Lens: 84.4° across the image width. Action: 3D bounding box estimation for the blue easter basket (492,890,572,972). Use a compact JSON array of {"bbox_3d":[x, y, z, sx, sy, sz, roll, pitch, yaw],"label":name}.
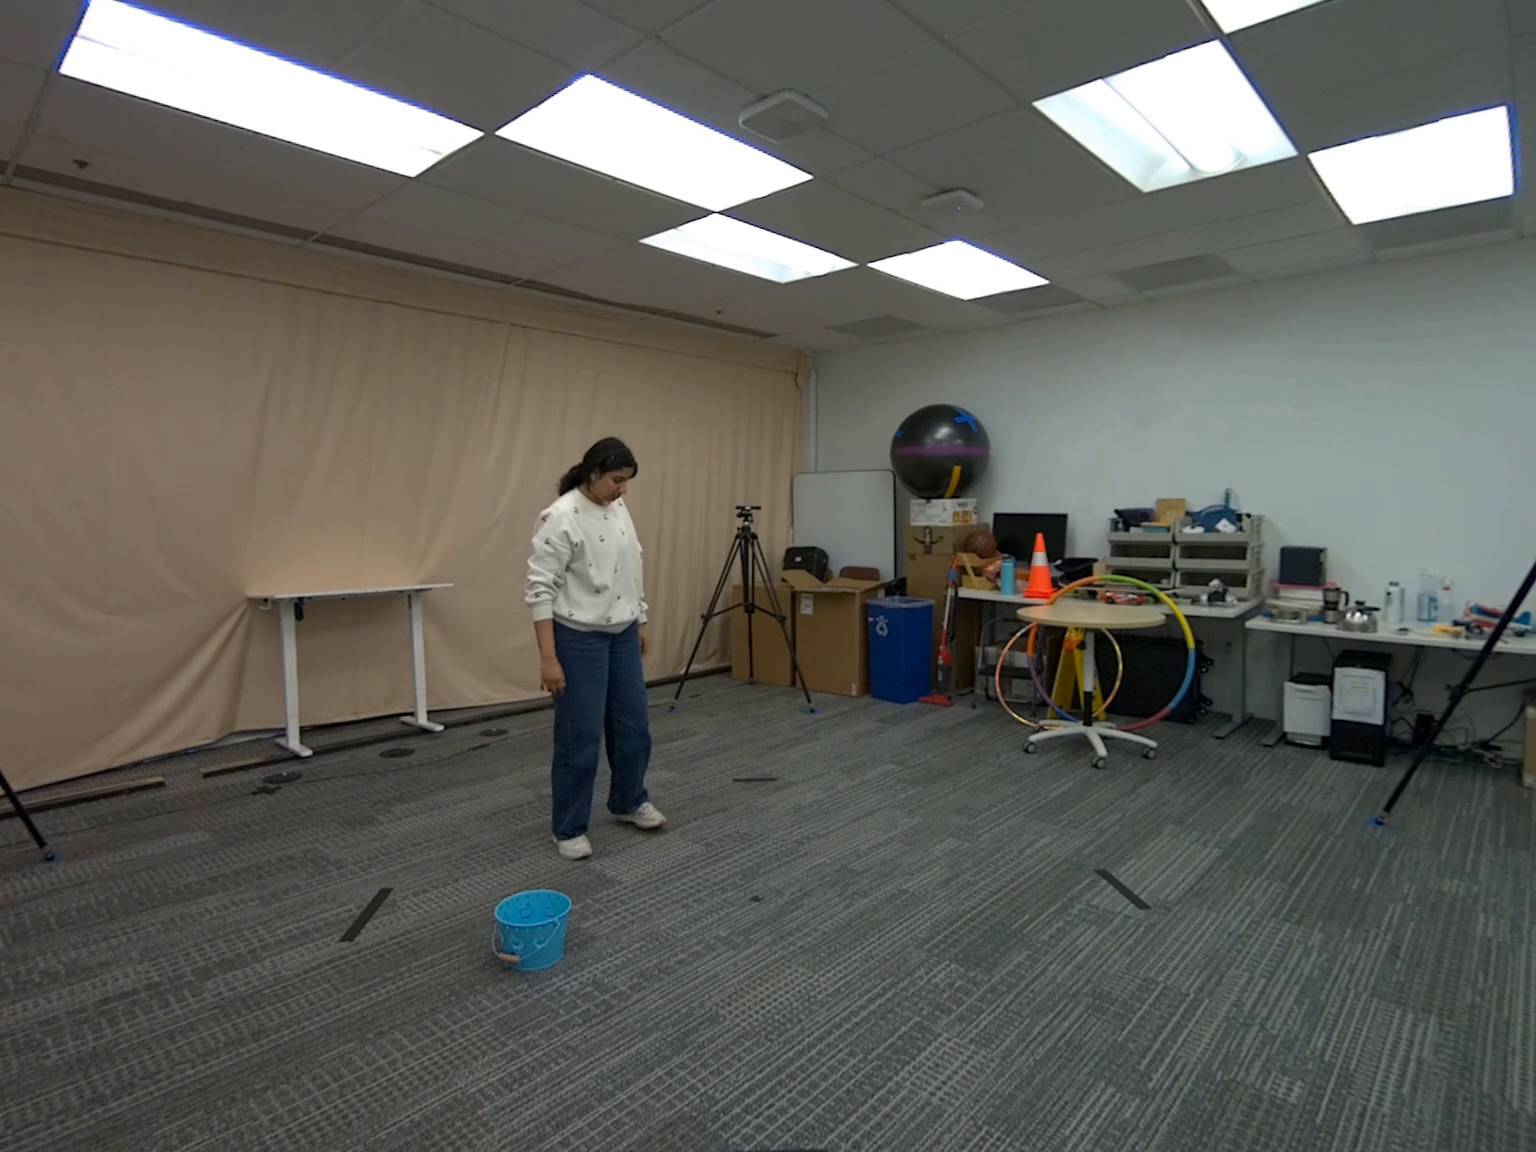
[{"bbox_3d":[-0.732,1.096,2.616,0.243,0.155,0.244,-1,5,-2],"label":"blue easter basket"}]
